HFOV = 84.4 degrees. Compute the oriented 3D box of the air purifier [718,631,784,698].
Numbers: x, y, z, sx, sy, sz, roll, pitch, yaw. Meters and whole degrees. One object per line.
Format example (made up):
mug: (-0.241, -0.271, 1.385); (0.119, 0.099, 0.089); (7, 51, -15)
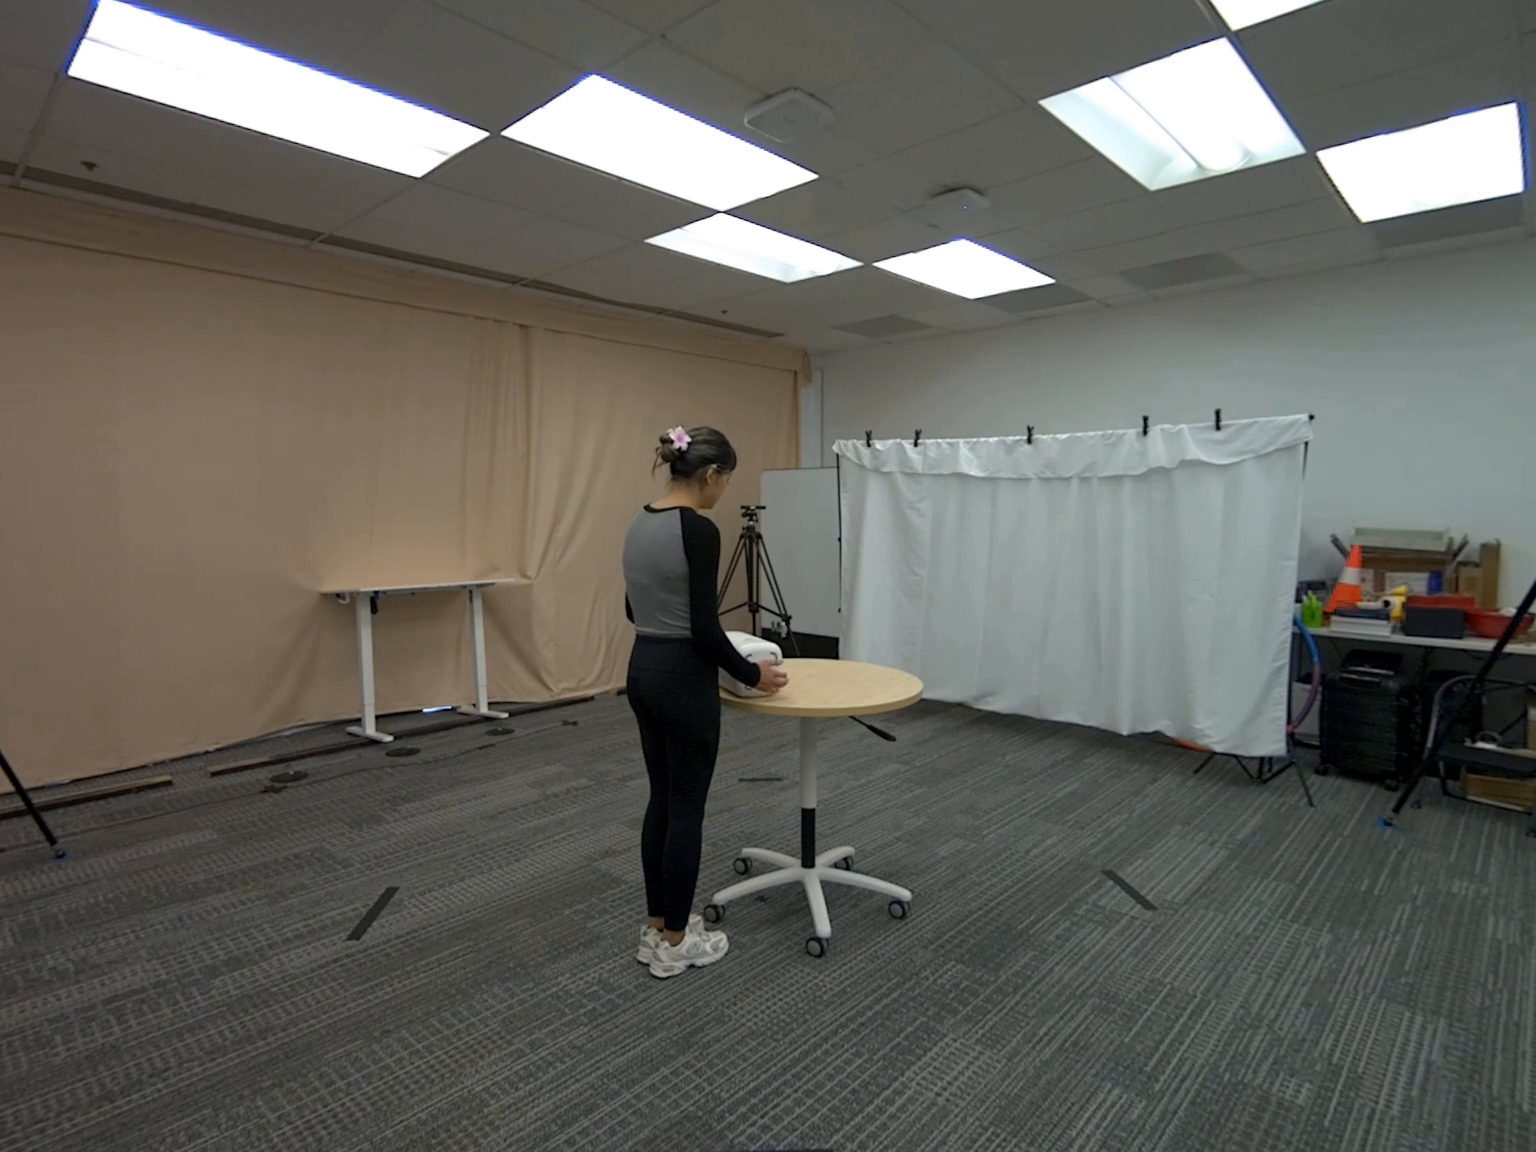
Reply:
air purifier: (-0.071, 0.285, 2.741); (0.167, 0.171, 0.272); (-2, 5, -23)
